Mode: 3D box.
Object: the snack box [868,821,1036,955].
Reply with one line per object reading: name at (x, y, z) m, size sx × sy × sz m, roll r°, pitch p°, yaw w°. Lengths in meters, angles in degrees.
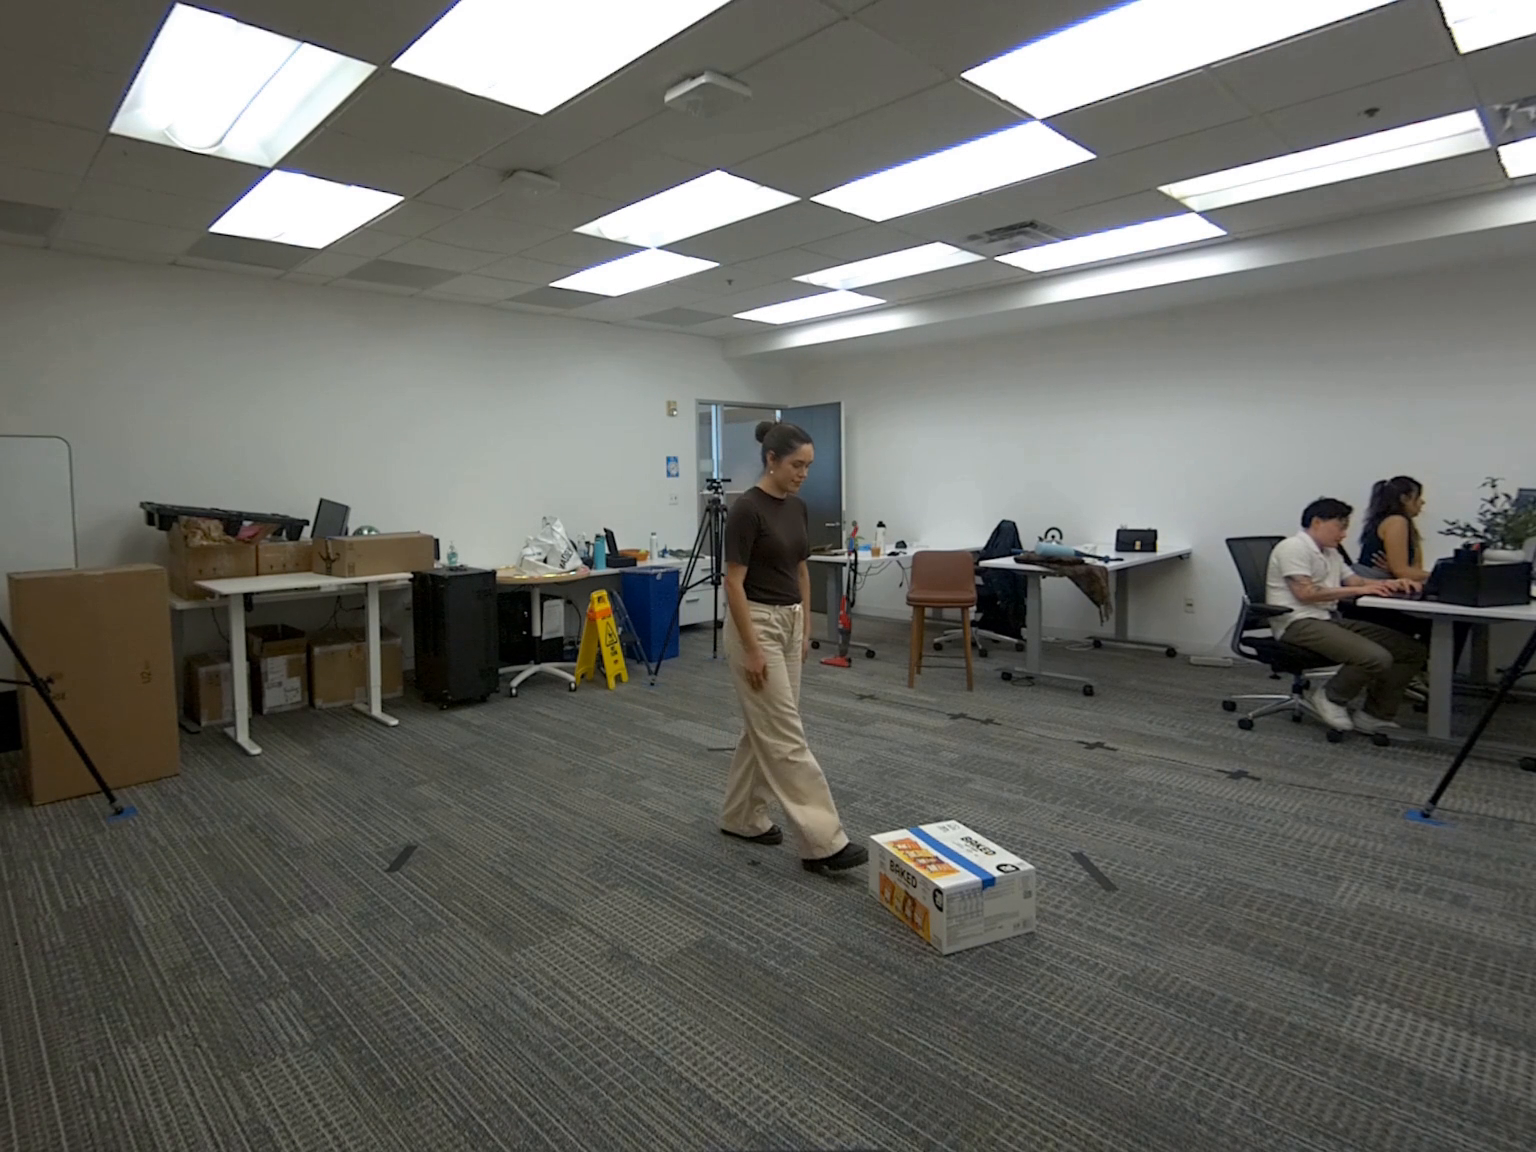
snack box at (0.583, 0.977, 2.719) m, size 0.334 × 0.205 × 0.415 m, roll -4°, pitch 6°, yaw -23°
